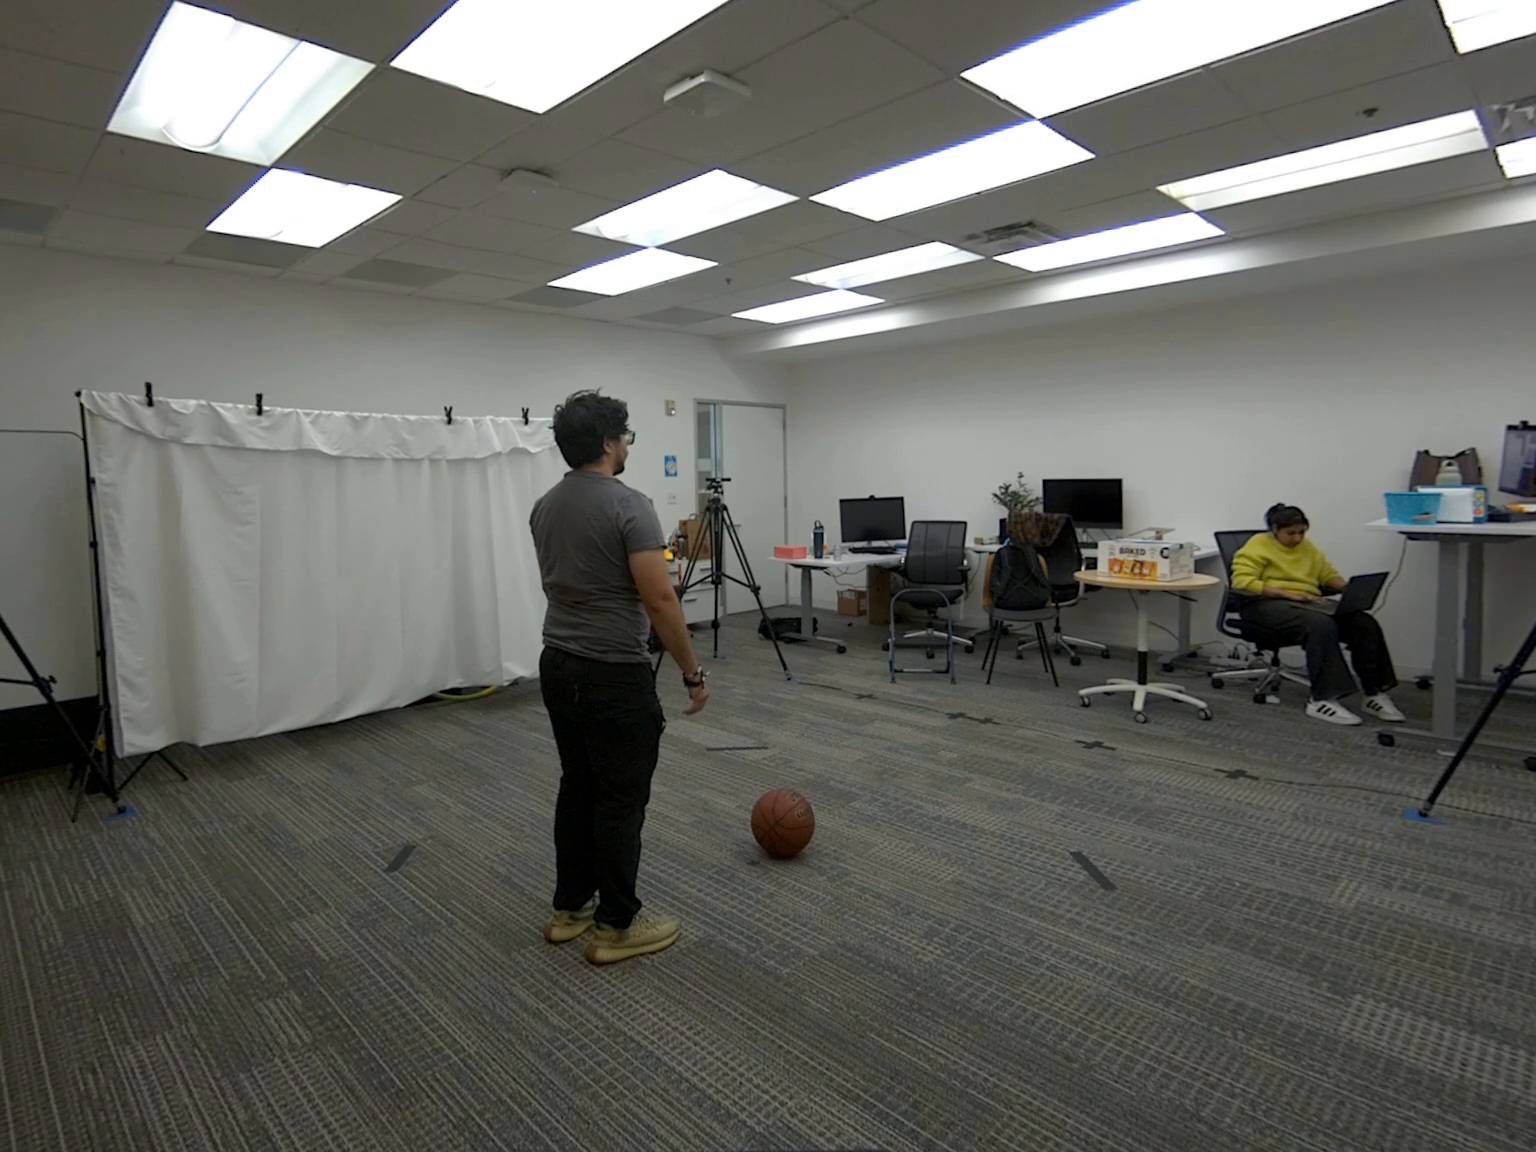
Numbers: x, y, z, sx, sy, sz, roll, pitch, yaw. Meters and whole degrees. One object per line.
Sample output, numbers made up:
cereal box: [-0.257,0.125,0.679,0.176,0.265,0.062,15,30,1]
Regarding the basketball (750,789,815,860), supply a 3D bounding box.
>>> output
basketball: [0.055,0.911,3.179,0.236,0.235,0.237,-1,5,-2]
